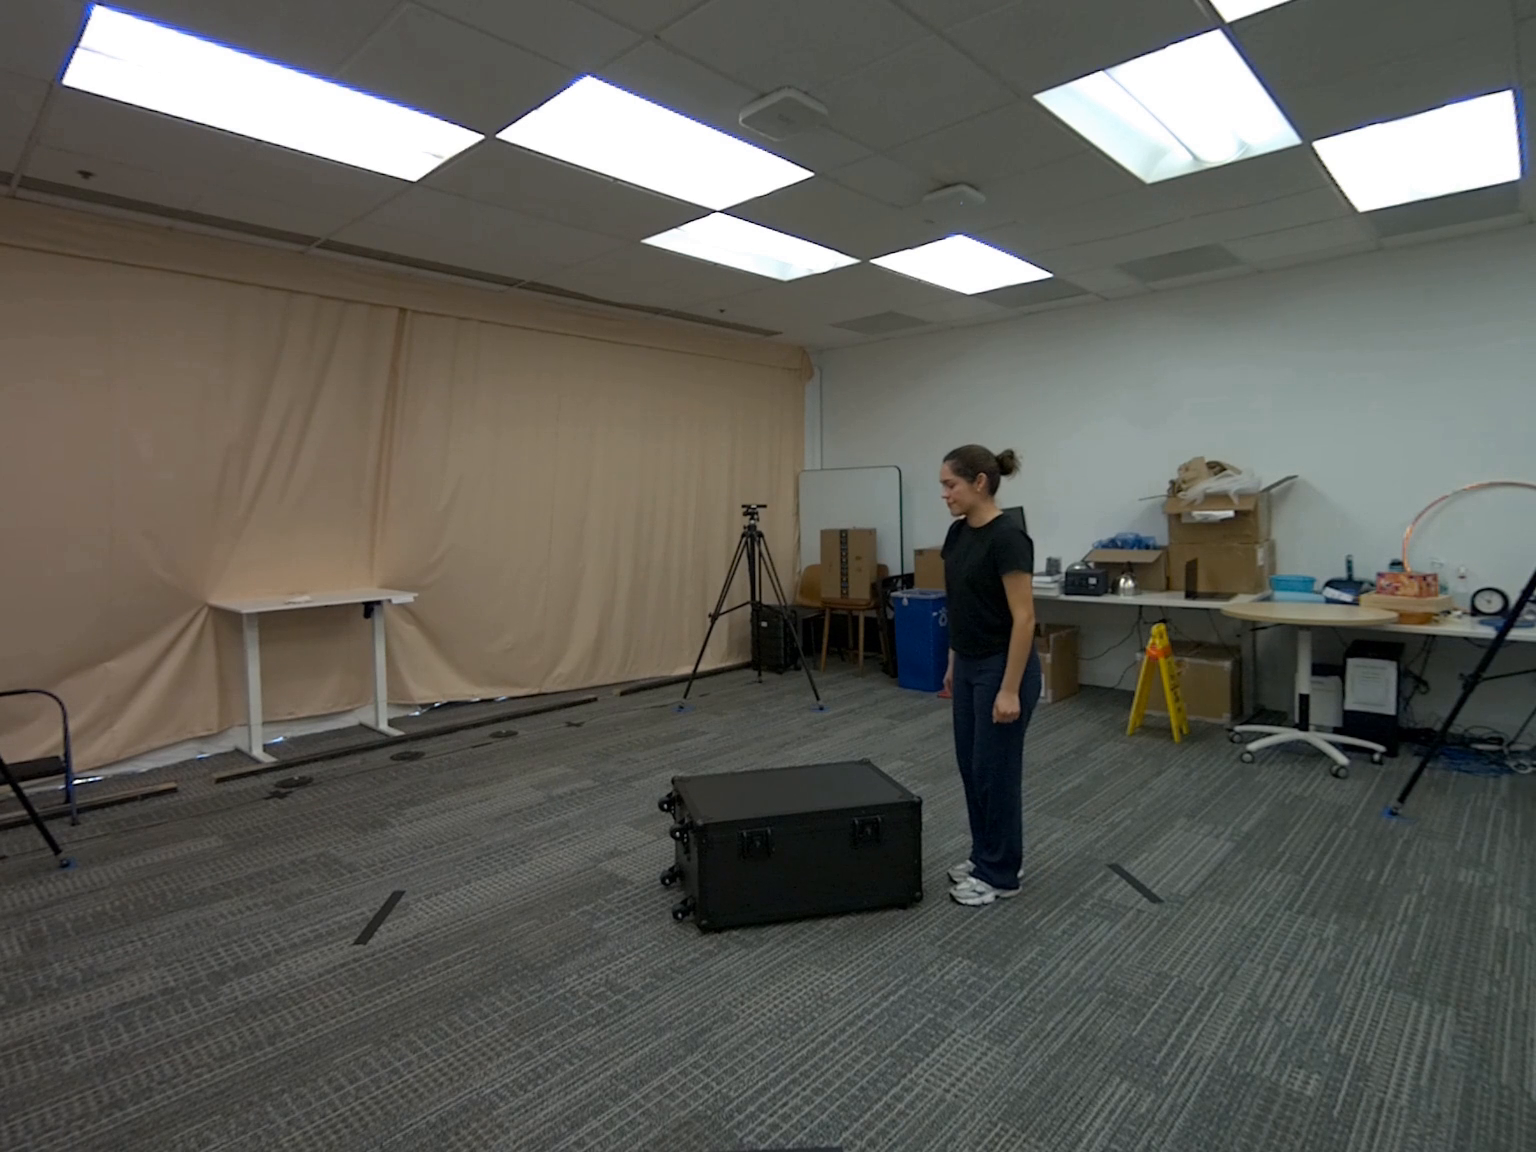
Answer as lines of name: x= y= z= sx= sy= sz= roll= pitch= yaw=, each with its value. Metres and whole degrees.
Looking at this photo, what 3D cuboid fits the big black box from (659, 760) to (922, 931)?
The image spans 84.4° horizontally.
big black box: x=0.070 y=0.947 z=3.020 sx=0.849 sy=0.395 sz=0.530 roll=-2 pitch=4 yaw=-14
